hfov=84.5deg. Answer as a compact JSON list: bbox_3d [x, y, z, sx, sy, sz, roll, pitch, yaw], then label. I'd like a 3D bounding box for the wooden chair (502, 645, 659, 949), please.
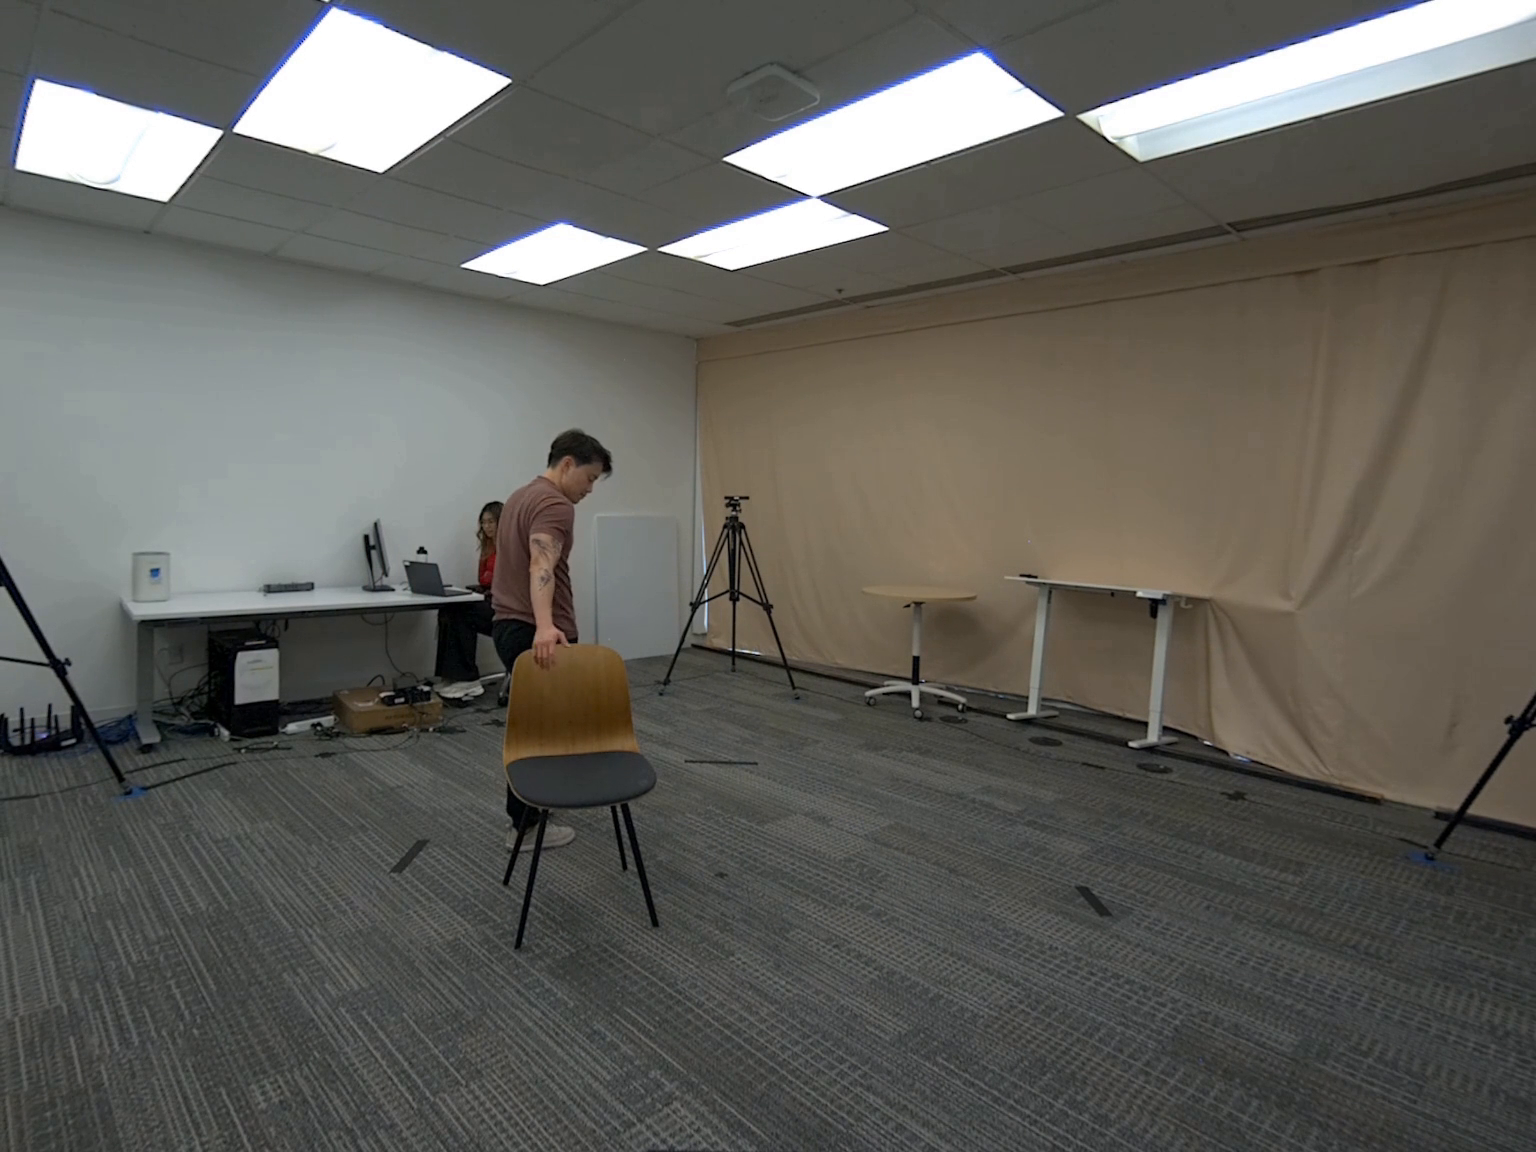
[{"bbox_3d":[-0.632,0.694,2.809,0.470,0.878,0.531,0,0,-22],"label":"wooden chair"}]
